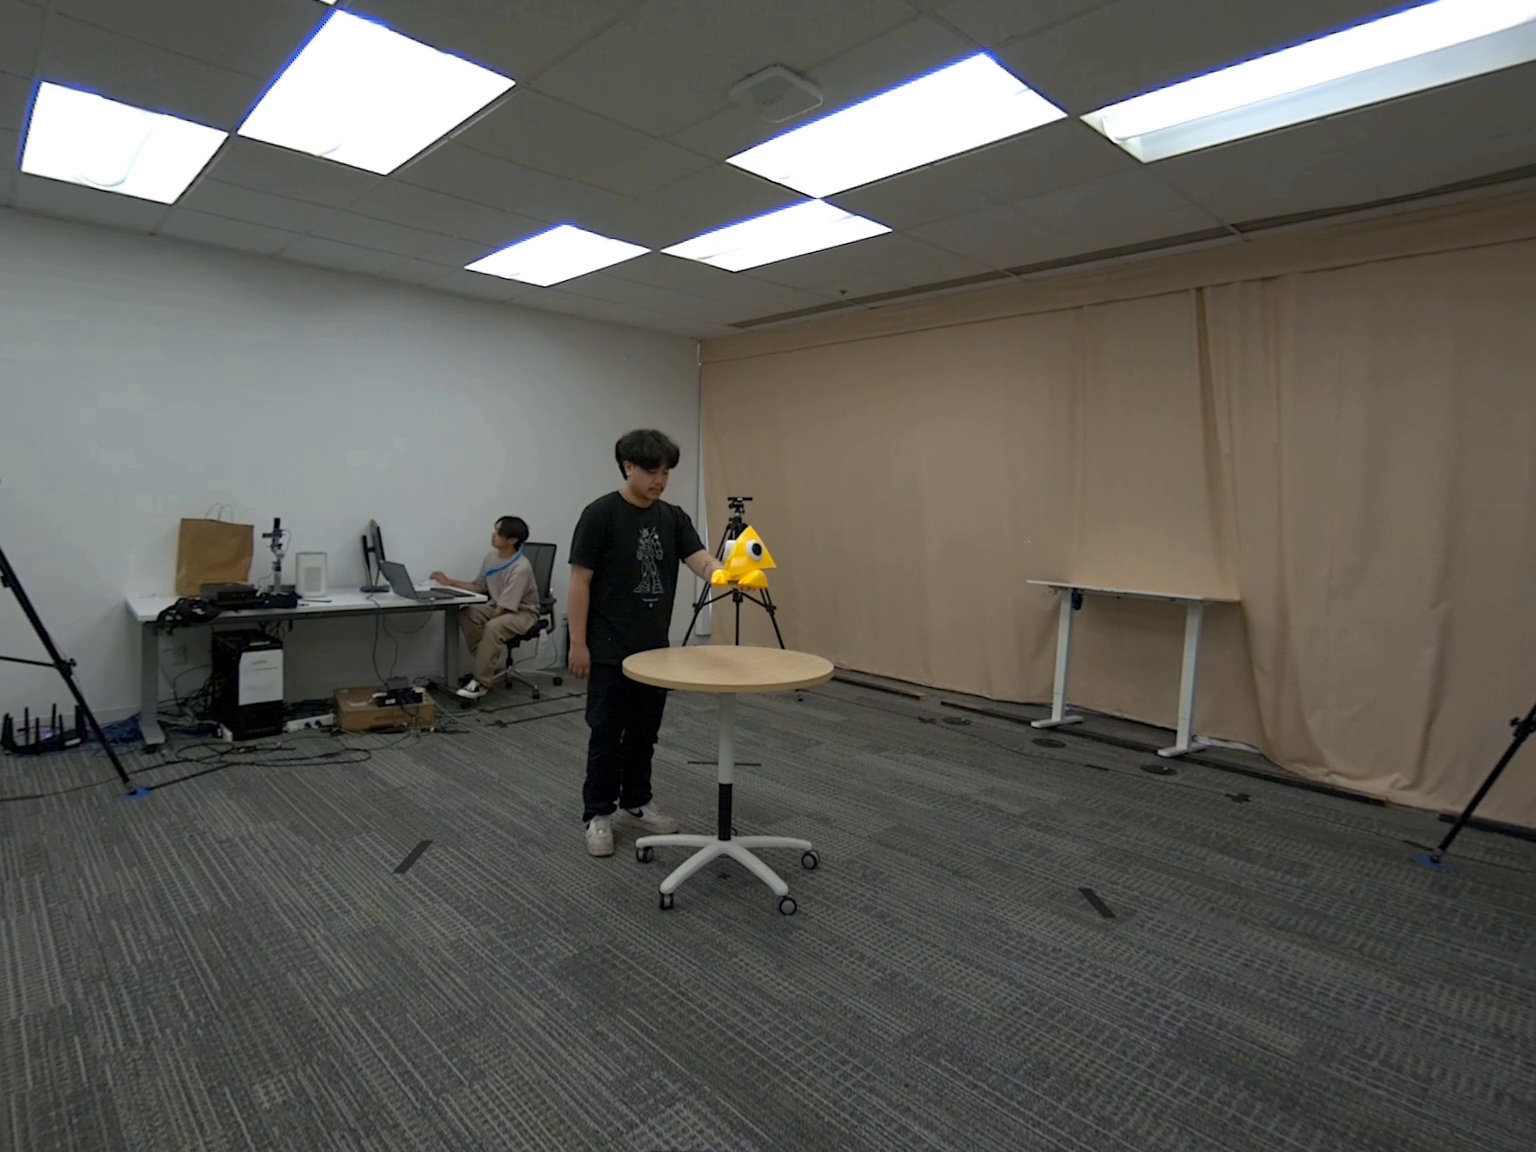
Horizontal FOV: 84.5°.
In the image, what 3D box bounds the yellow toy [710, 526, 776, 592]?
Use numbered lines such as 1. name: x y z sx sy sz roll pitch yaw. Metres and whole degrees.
1. yellow toy: -0.103 -0.076 3.051 0.208 0.232 0.188 1 -8 24
